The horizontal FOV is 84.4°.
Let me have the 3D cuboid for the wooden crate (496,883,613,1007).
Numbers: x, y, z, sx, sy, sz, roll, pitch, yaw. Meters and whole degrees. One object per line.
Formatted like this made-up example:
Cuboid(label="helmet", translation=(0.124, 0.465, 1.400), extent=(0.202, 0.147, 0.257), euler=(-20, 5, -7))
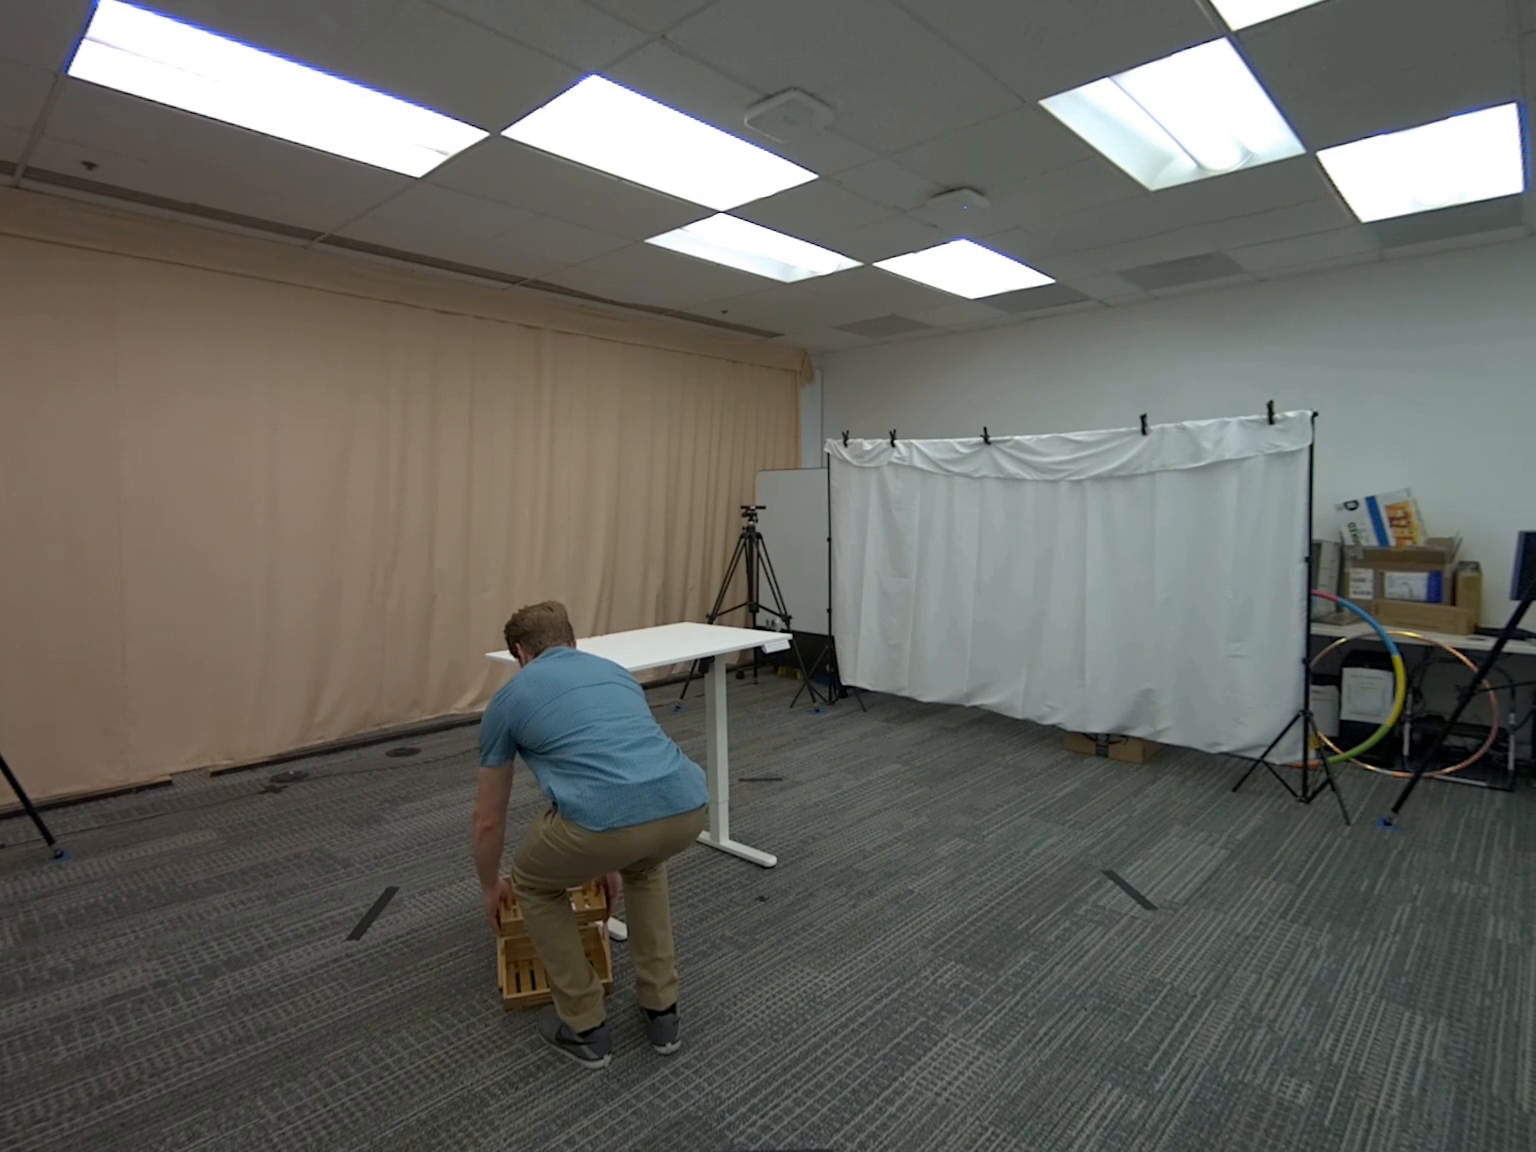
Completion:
Cuboid(label="wooden crate", translation=(-0.632, 1.055, 2.480), extent=(0.319, 0.273, 0.308), euler=(-2, 3, -17))
